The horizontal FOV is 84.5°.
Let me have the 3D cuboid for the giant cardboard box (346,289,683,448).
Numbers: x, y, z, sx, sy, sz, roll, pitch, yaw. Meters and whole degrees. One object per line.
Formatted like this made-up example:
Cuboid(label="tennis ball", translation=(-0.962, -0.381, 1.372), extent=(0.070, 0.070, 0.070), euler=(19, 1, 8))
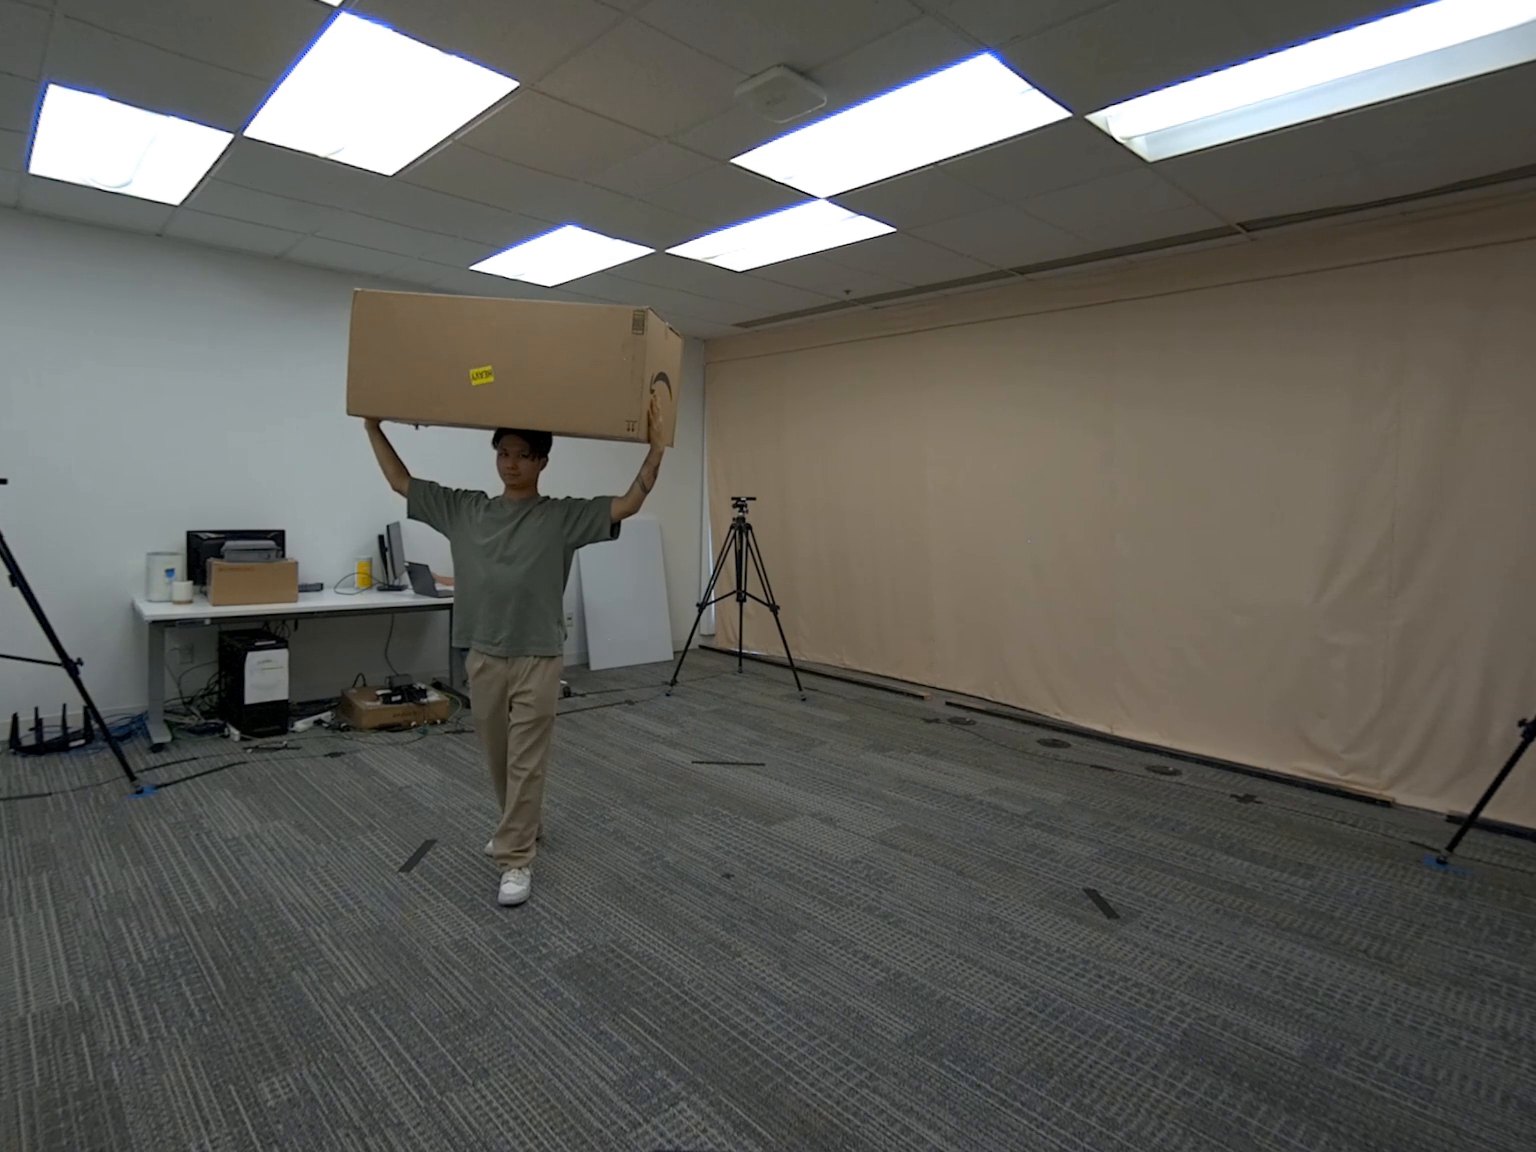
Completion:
Cuboid(label="giant cardboard box", translation=(-0.885, -0.737, 3.039), extent=(1.033, 0.425, 0.575), euler=(6, 5, 8))
